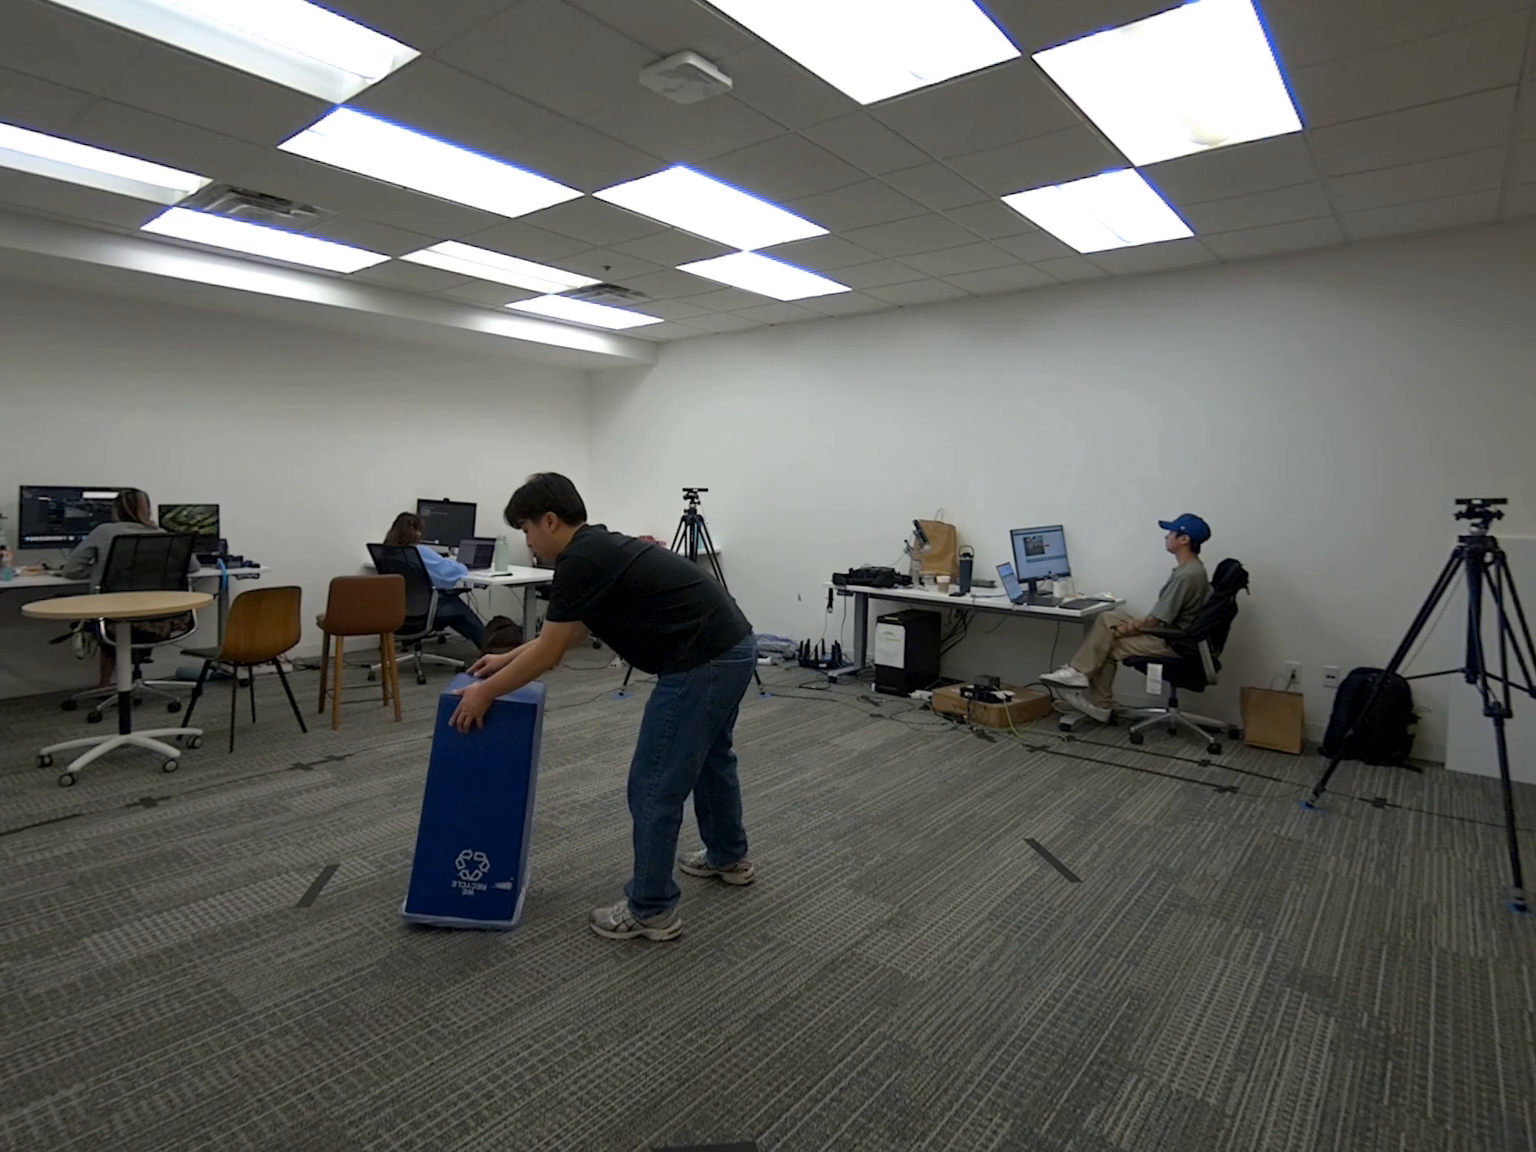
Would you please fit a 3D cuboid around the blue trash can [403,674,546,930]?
[{"bbox_3d":[-0.963,0.722,2.805,0.371,0.713,0.382,6,2,-8],"label":"blue trash can"}]
